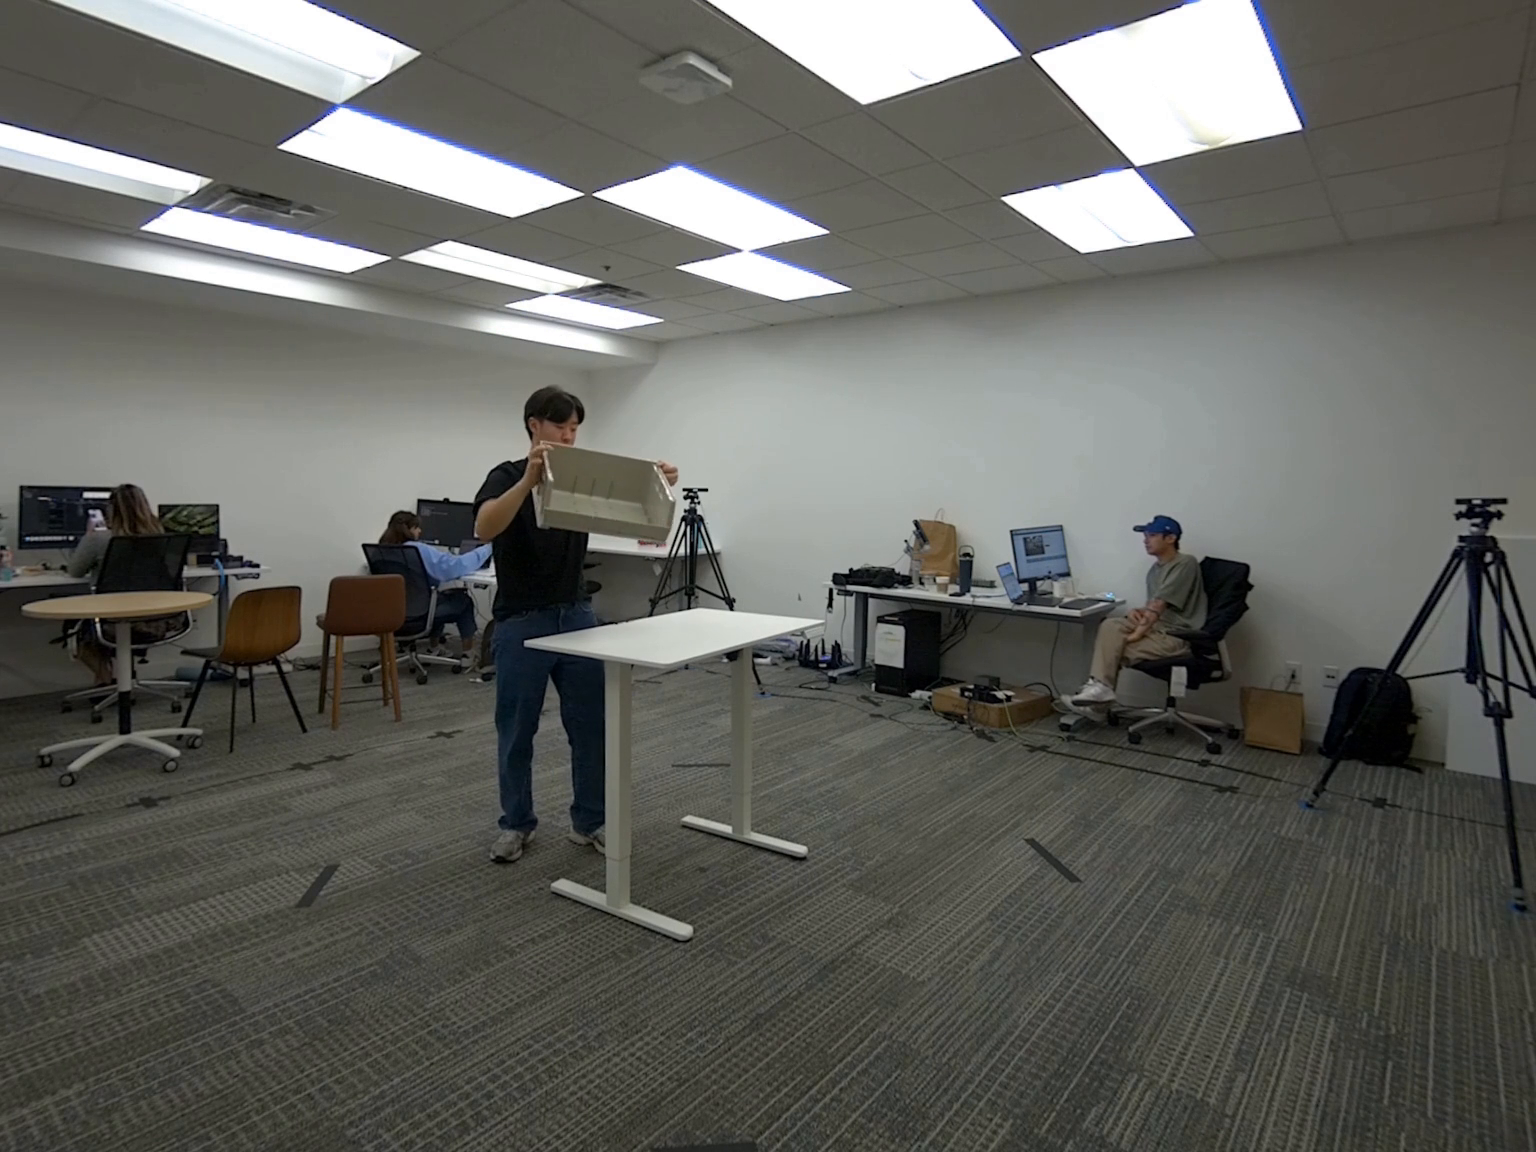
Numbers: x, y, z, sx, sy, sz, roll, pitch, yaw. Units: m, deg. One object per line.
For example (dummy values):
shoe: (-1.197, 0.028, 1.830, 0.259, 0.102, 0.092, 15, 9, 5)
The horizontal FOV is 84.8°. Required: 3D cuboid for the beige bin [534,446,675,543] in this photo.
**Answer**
beige bin: (-0.564, -0.276, 2.857, 0.413, 0.186, 0.391, 7, 25, -20)
